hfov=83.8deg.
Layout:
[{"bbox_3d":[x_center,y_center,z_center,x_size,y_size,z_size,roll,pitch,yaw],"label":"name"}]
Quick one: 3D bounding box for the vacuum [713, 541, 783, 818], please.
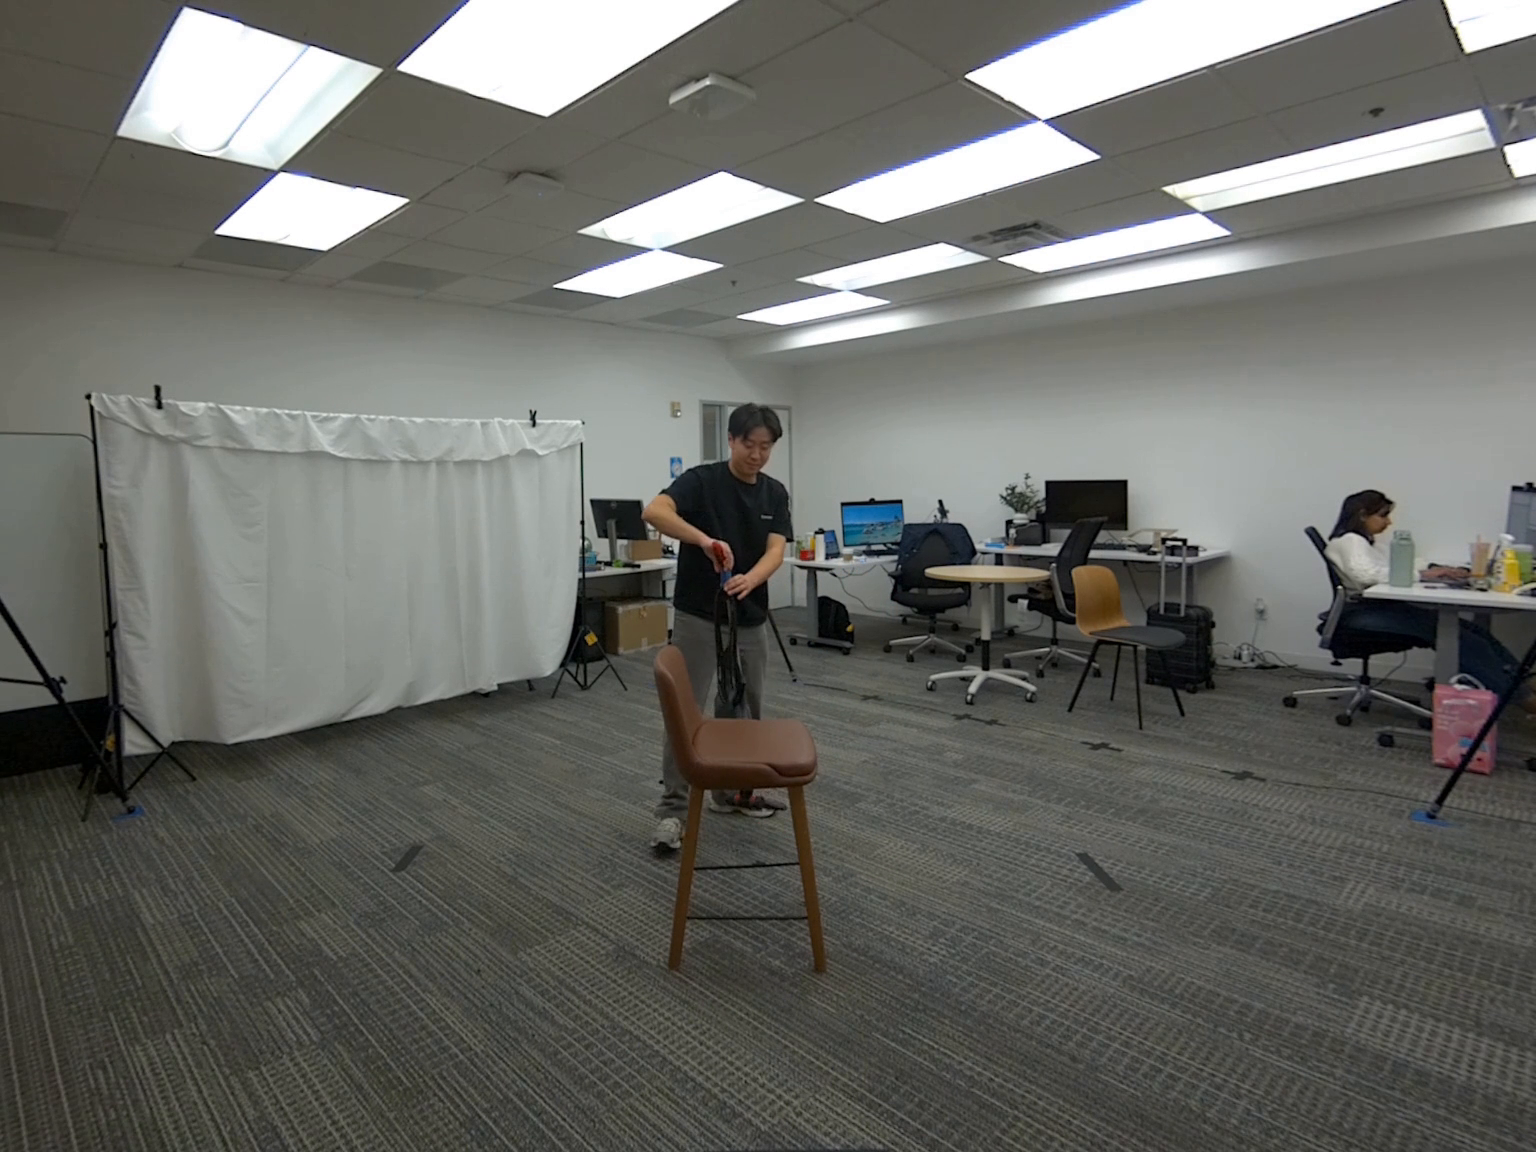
[{"bbox_3d":[-0.126,0.394,3.165,0.258,1.035,0.142,1,15,26],"label":"vacuum"}]
